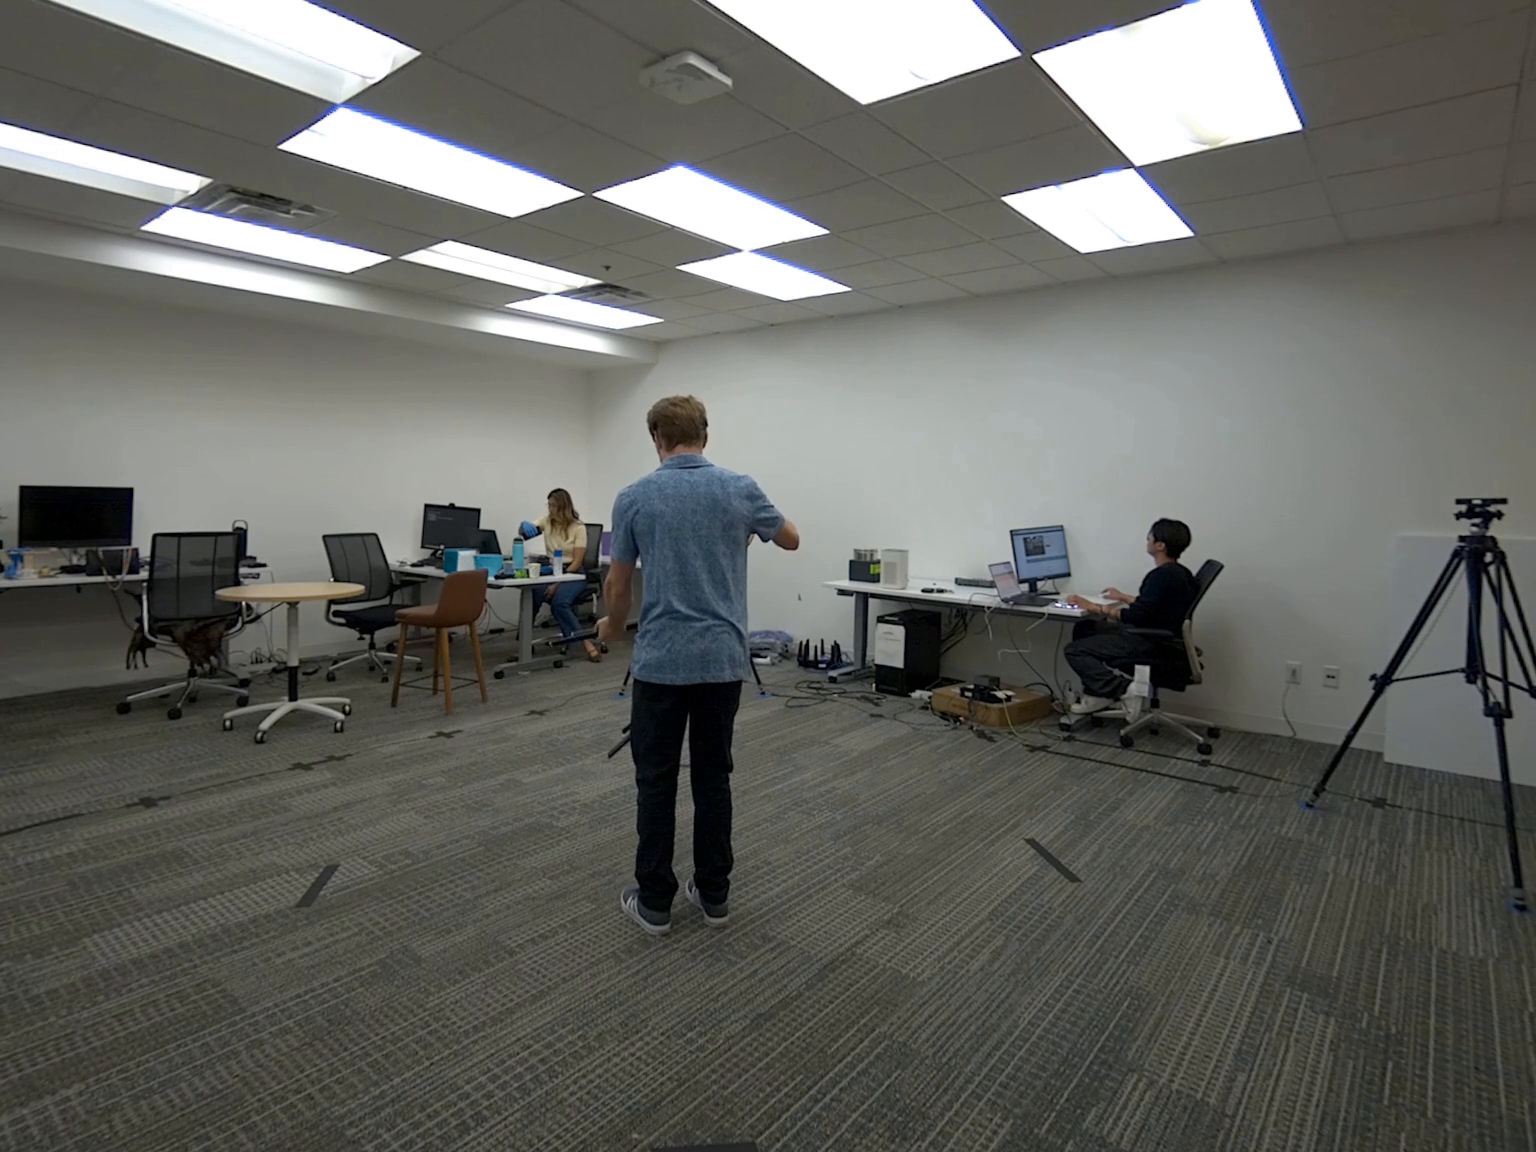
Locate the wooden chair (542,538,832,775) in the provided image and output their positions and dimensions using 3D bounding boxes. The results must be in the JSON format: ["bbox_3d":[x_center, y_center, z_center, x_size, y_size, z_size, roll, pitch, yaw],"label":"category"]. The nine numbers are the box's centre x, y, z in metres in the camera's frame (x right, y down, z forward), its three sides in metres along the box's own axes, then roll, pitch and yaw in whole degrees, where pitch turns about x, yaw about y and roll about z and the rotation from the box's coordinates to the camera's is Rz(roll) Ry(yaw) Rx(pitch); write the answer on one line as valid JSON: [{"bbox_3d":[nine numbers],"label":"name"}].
[{"bbox_3d":[-0.300,0.245,3.209,0.877,0.525,0.477,-31,-1,-1],"label":"wooden chair"}]
